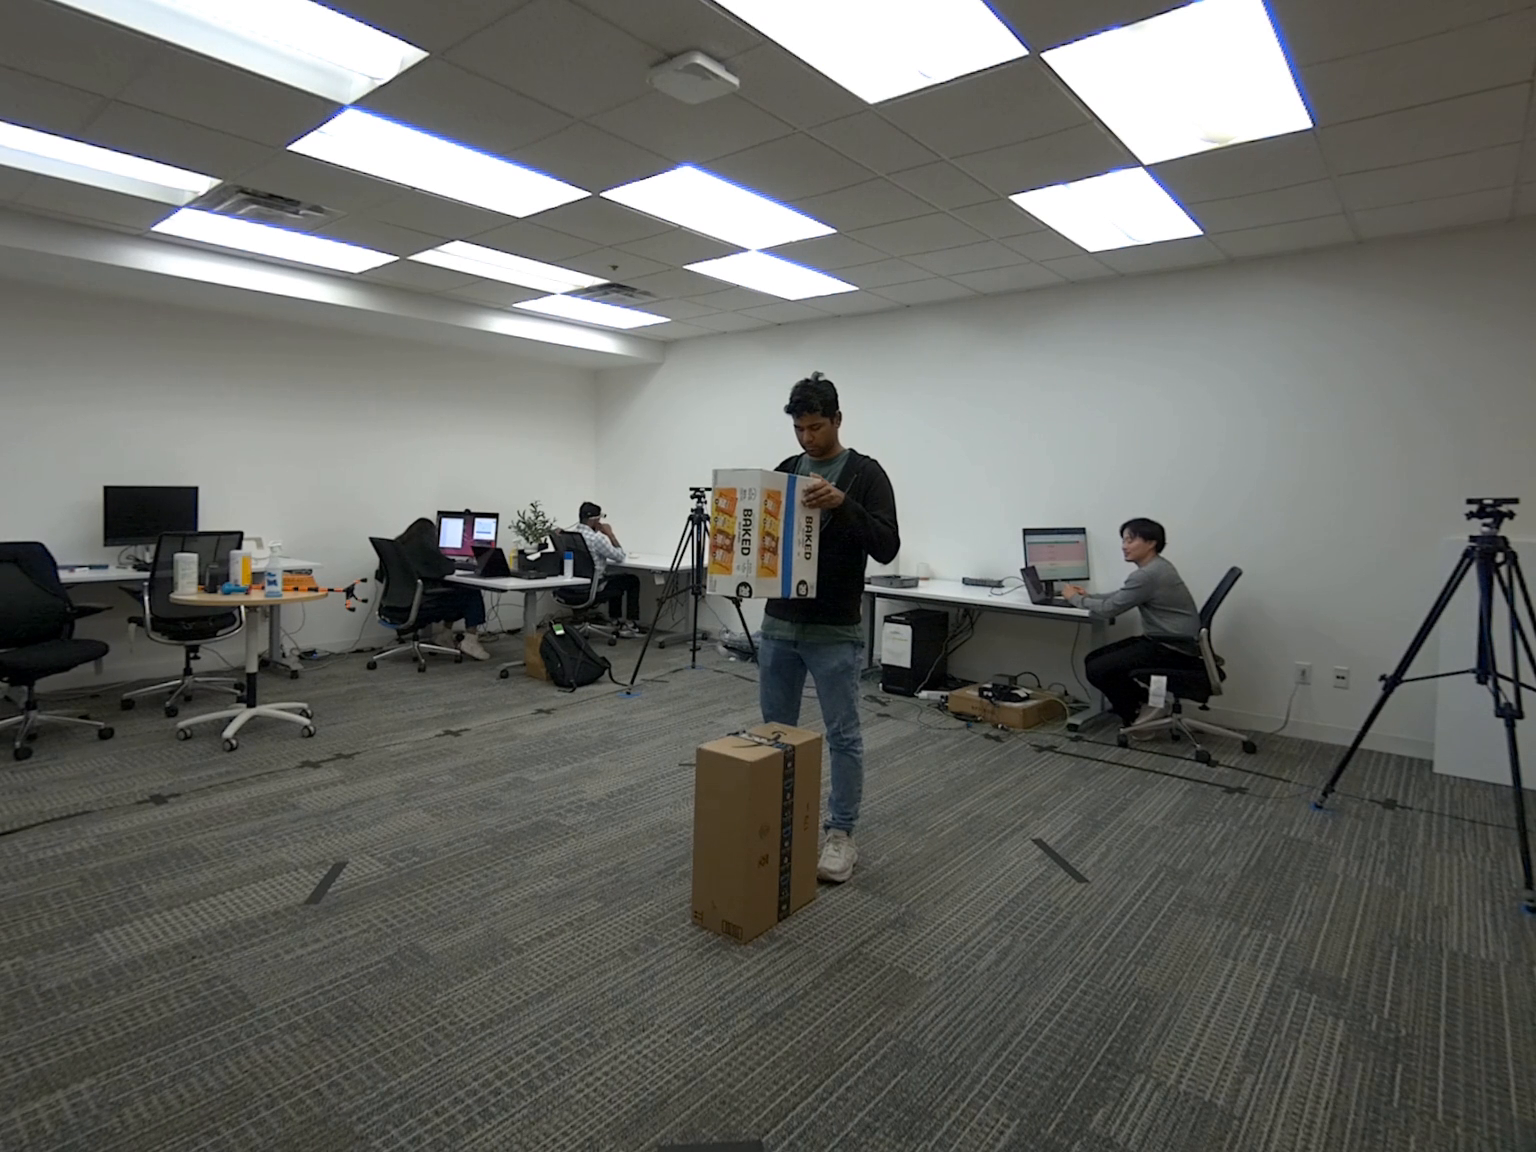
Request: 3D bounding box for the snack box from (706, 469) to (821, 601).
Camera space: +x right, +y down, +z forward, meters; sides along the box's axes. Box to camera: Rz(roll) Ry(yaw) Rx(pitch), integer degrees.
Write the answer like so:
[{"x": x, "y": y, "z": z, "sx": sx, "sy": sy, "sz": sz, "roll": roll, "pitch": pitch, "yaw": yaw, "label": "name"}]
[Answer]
[{"x": -0.023, "y": -0.118, "z": 2.805, "sx": 0.212, "sy": 0.405, "sz": 0.329, "roll": 3, "pitch": -1, "yaw": 38, "label": "snack box"}]
